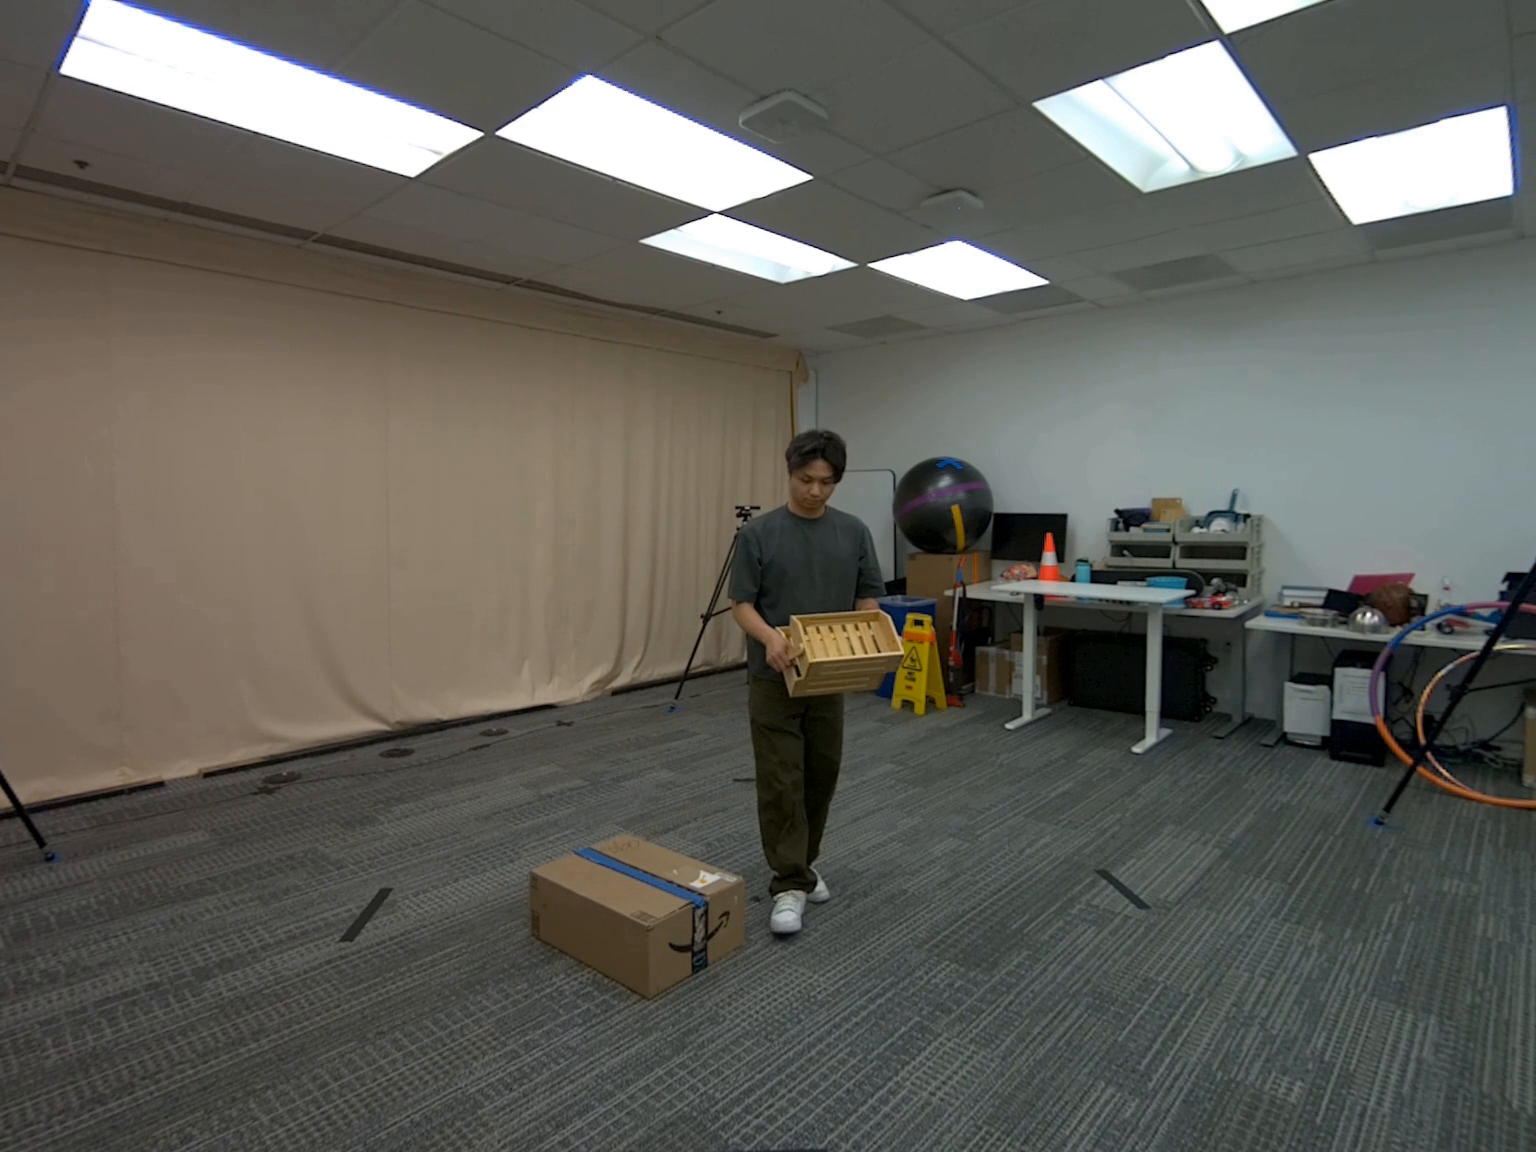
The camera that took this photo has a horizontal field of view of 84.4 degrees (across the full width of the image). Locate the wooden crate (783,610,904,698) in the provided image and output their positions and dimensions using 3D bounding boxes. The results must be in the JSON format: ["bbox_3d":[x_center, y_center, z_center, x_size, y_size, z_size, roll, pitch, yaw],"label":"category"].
[{"bbox_3d":[0.223,0.211,2.684,0.320,0.310,0.270,-3,-42,-12],"label":"wooden crate"}]
